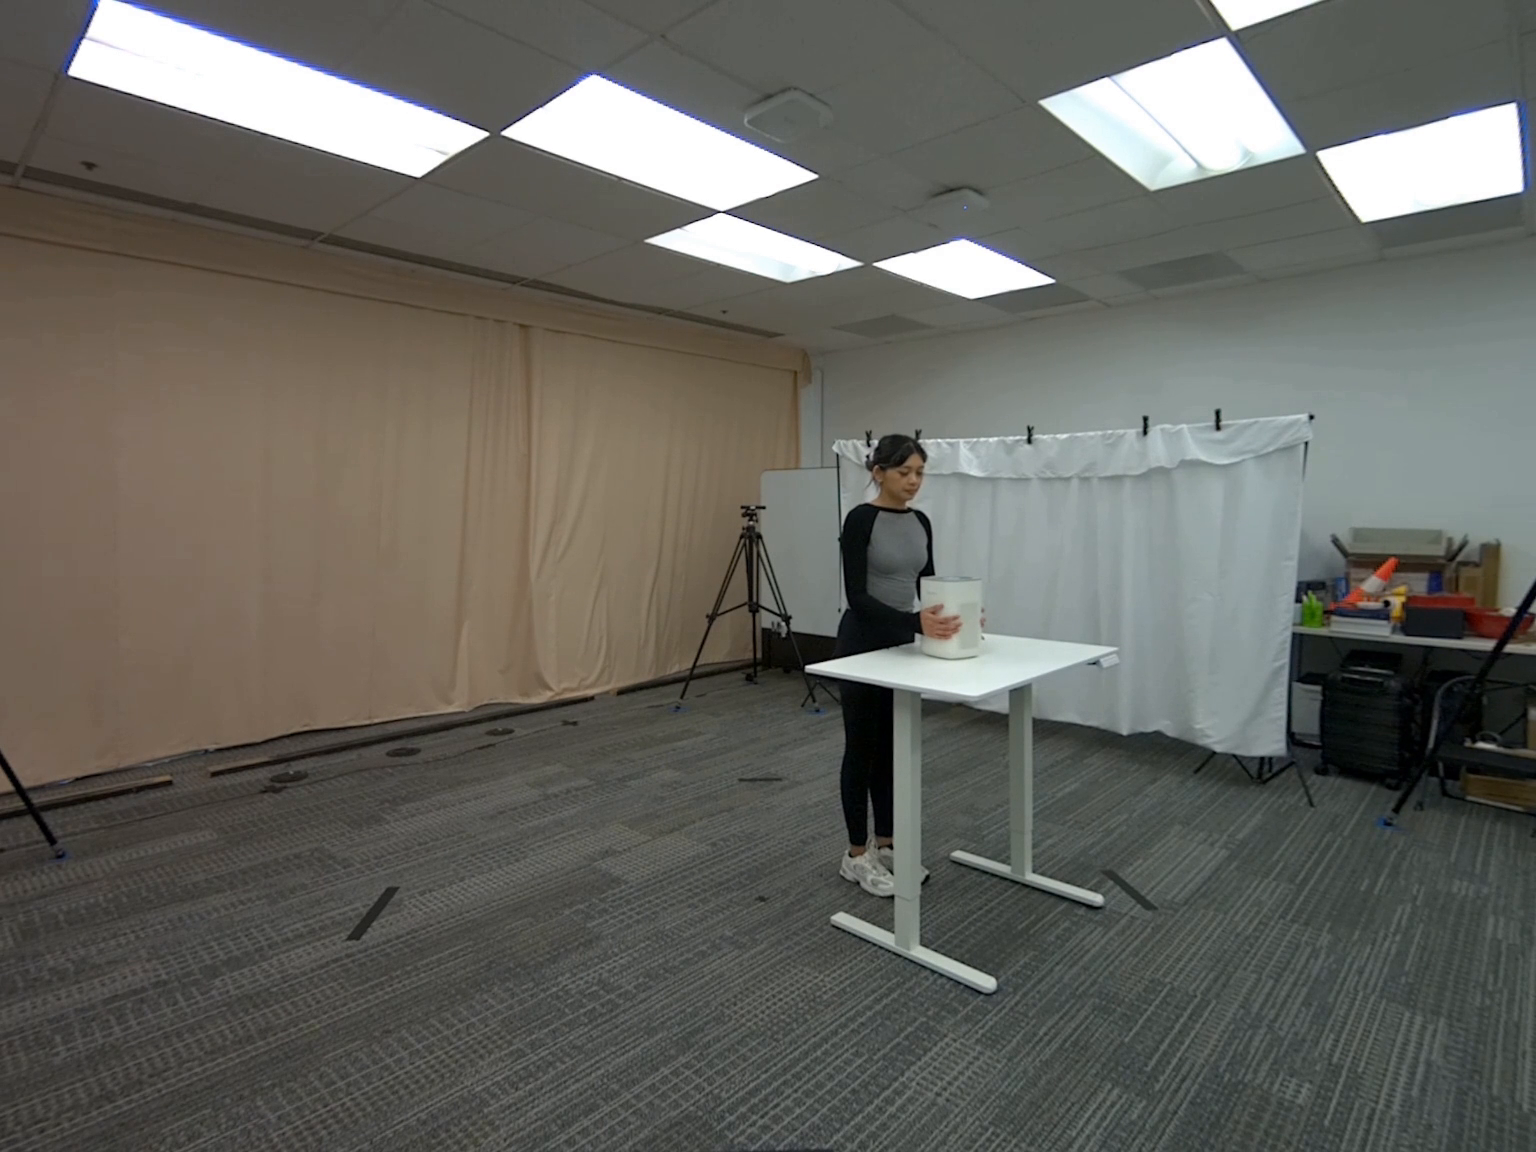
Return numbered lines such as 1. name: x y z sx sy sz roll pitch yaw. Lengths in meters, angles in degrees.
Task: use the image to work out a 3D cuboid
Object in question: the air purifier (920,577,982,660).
1. air purifier: 0.617 0.140 2.846 0.167 0.265 0.176 -5 5 -32
